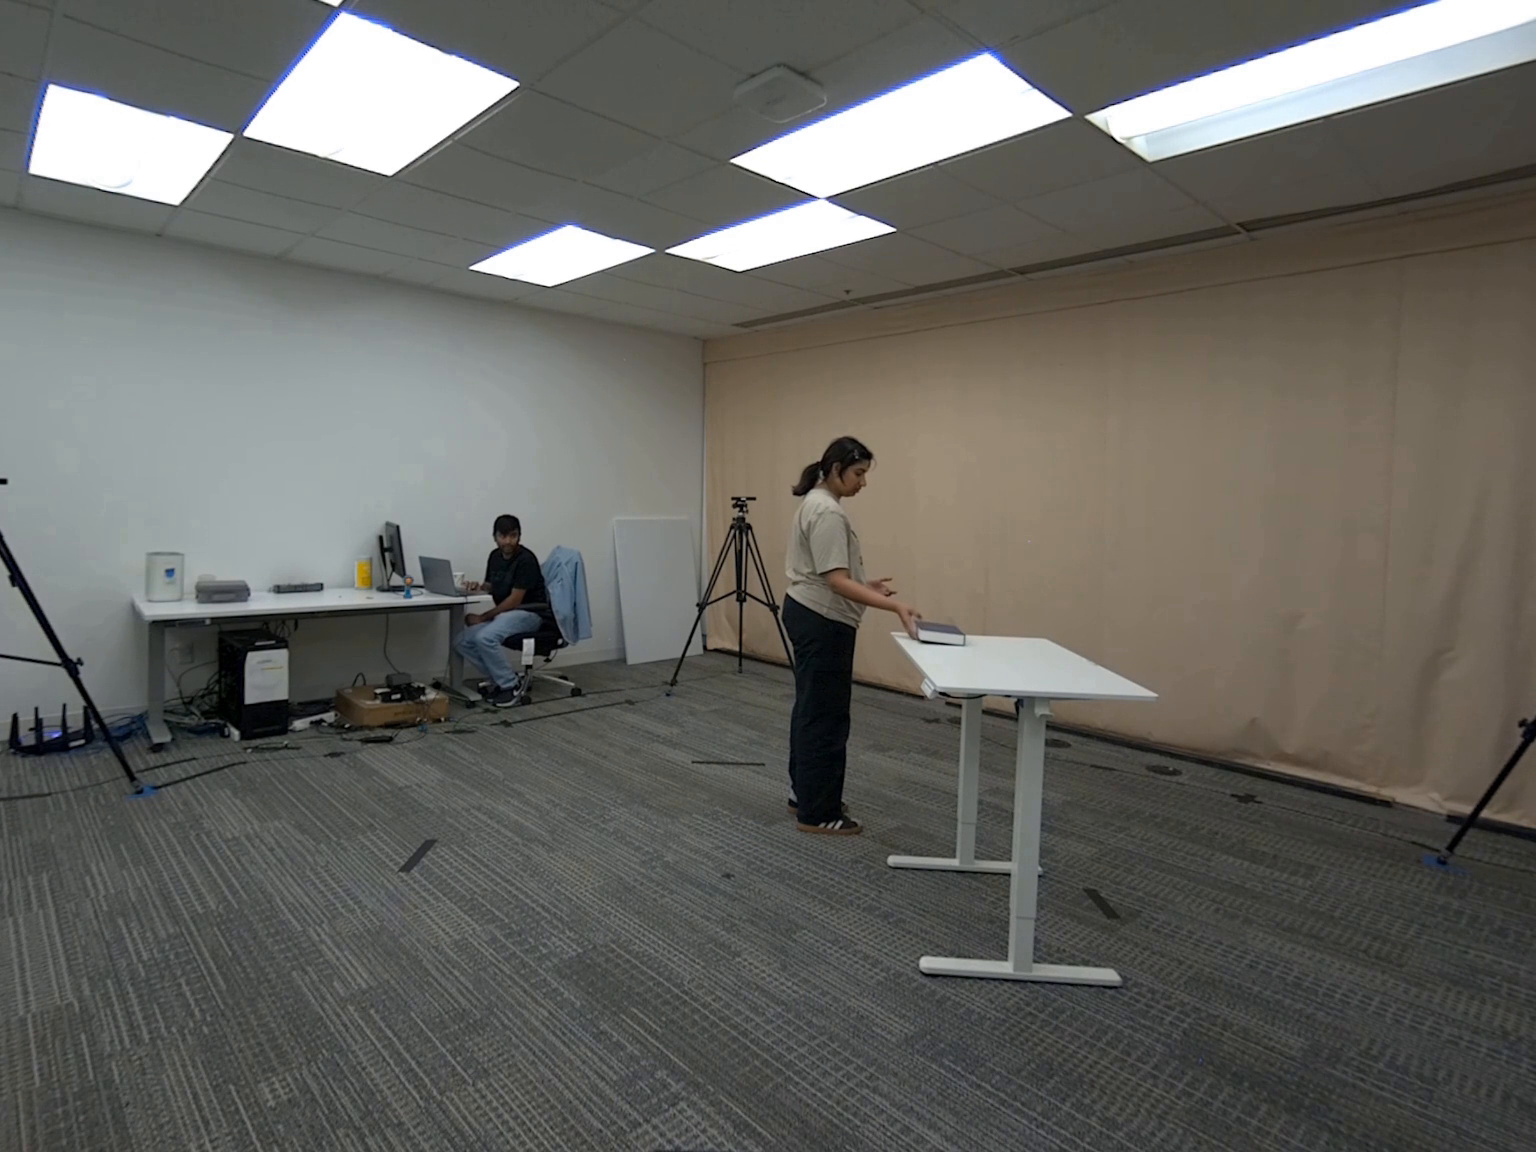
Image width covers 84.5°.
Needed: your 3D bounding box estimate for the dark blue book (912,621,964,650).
[{"bbox_3d":[0.627,0.218,3.165,0.164,0.045,0.244,6,5,5],"label":"dark blue book"}]
